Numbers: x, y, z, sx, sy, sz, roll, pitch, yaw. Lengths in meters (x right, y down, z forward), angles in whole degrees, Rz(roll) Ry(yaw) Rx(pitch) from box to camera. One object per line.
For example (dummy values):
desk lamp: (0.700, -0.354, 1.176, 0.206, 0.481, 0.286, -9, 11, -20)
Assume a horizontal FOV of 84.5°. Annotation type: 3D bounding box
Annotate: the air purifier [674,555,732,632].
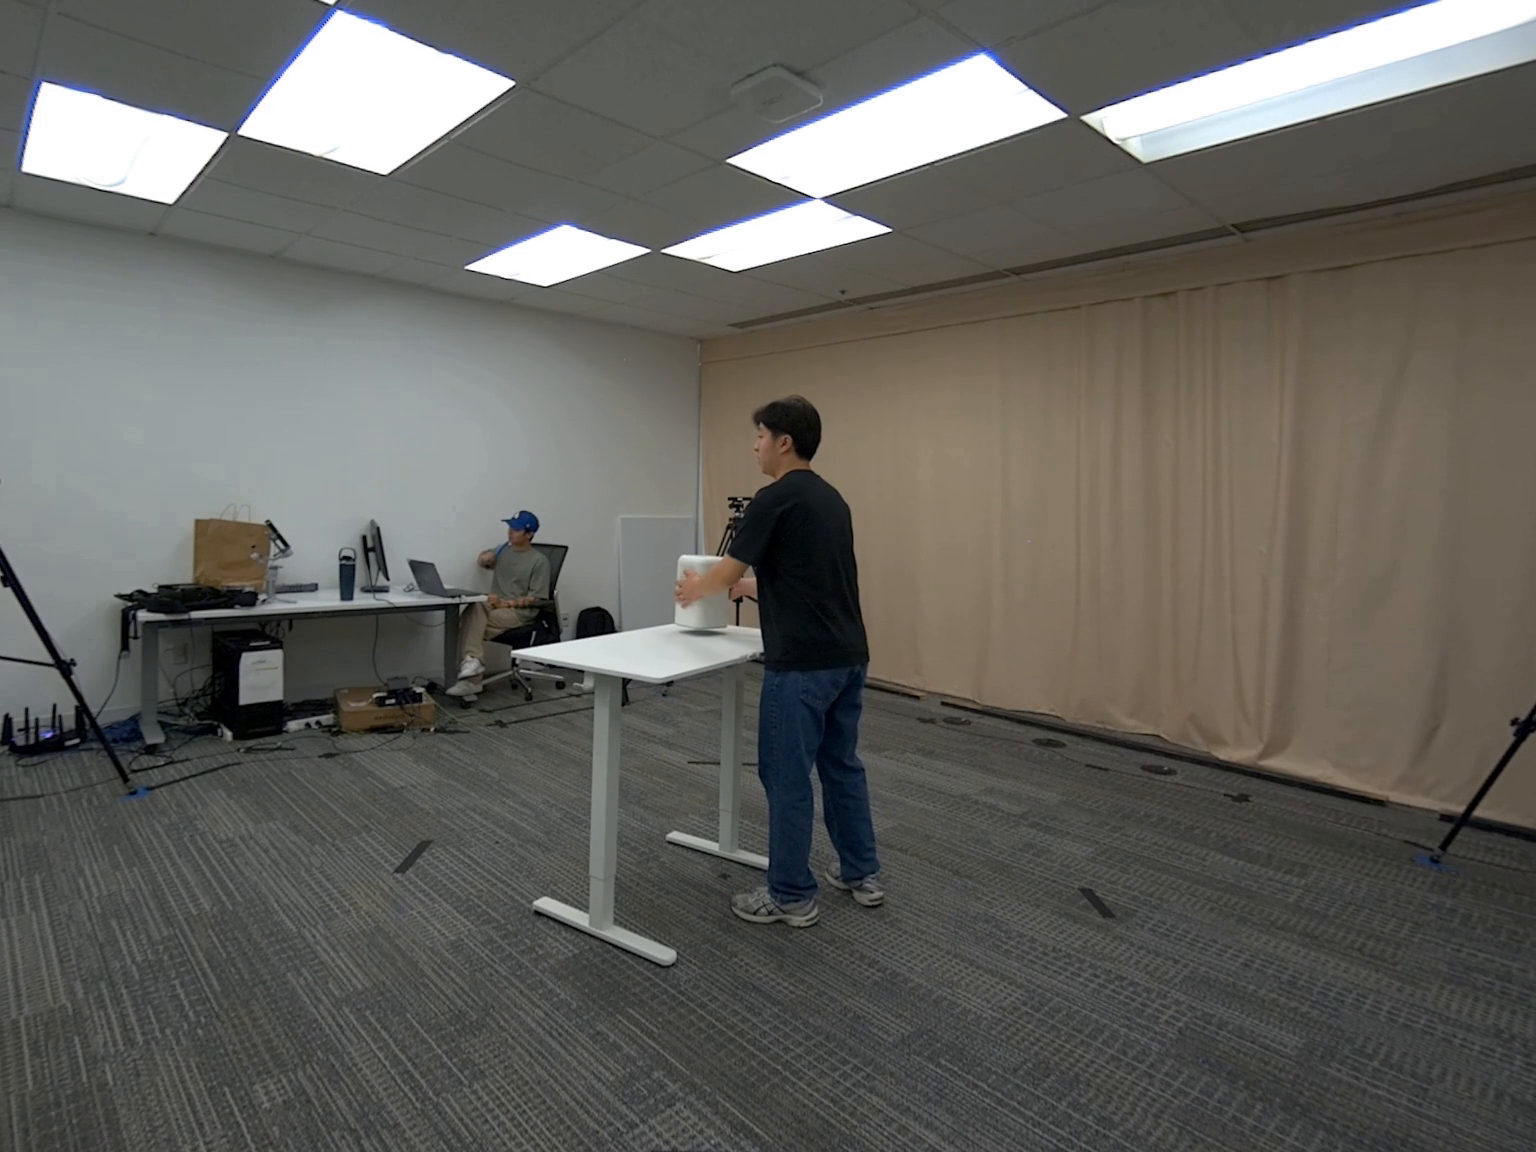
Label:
air purifier: (-0.255, 0.058, 3.178, 0.176, 0.265, 0.167, 5, 3, 44)
